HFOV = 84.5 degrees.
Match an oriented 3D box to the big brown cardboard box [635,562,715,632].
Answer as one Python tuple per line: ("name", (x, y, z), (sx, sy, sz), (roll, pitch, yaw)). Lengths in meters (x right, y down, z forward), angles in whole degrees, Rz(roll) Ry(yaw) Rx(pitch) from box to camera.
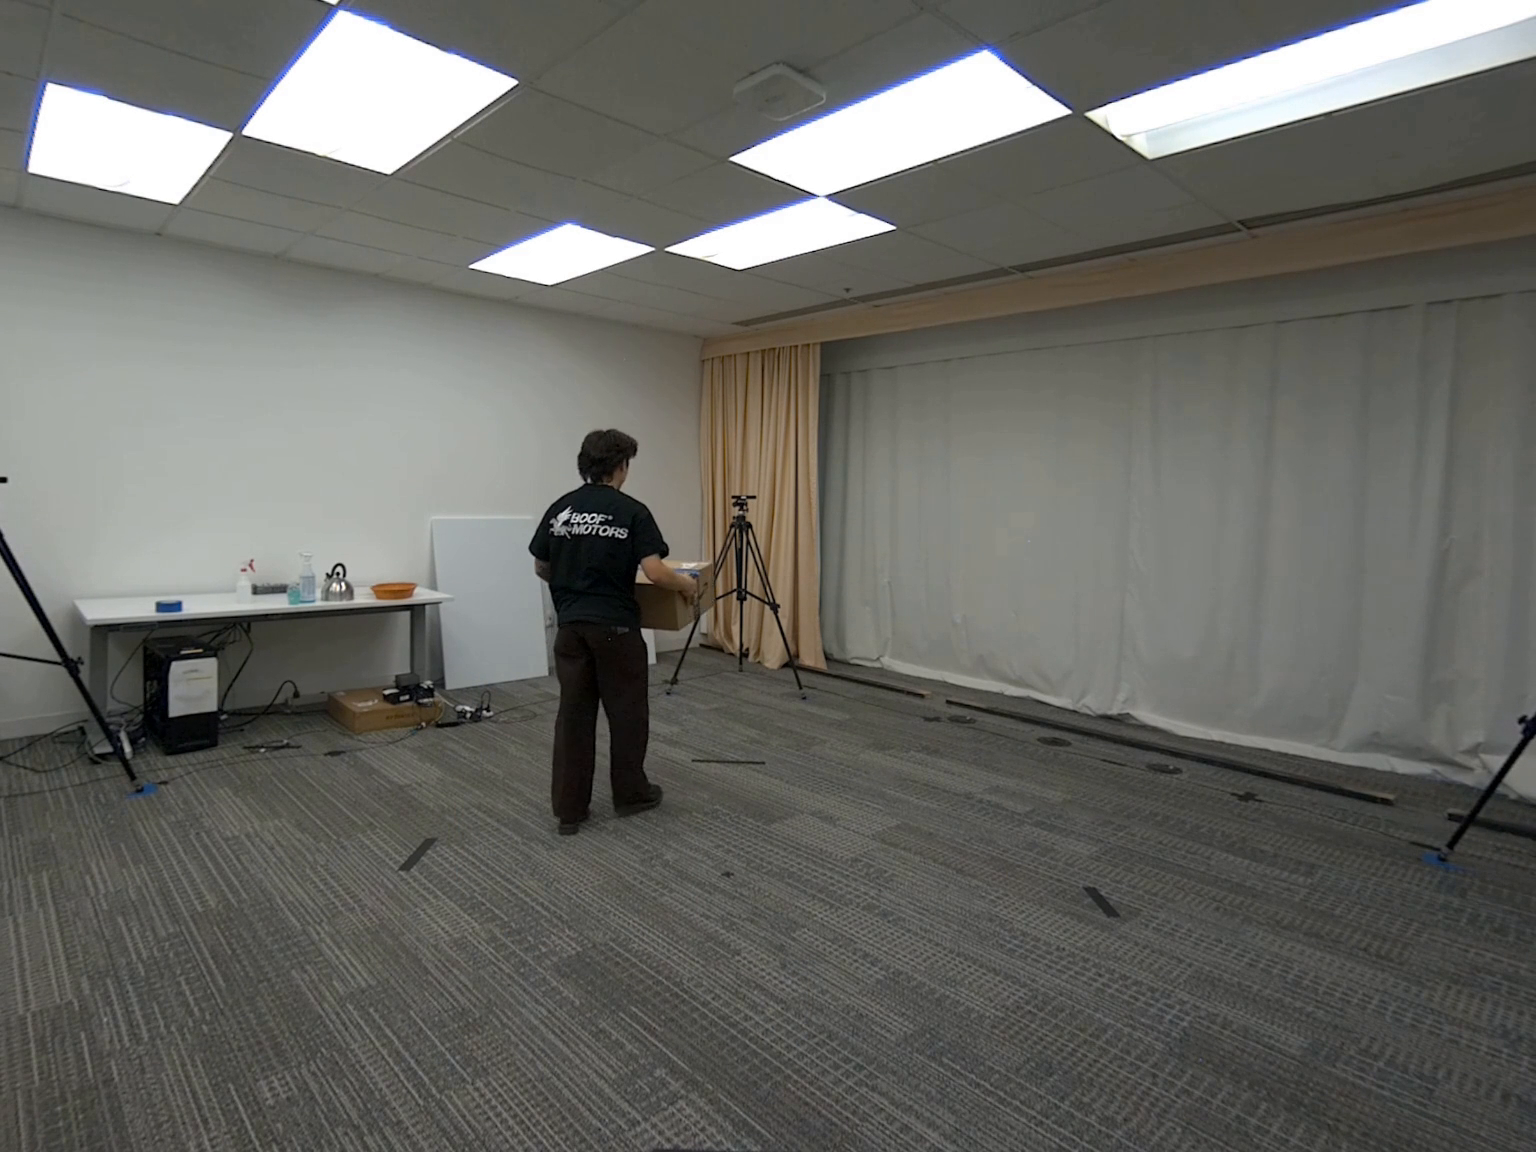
("big brown cardboard box", (-0.591, 0.081, 3.928), (0.598, 0.231, 0.415), (2, 14, 19))
